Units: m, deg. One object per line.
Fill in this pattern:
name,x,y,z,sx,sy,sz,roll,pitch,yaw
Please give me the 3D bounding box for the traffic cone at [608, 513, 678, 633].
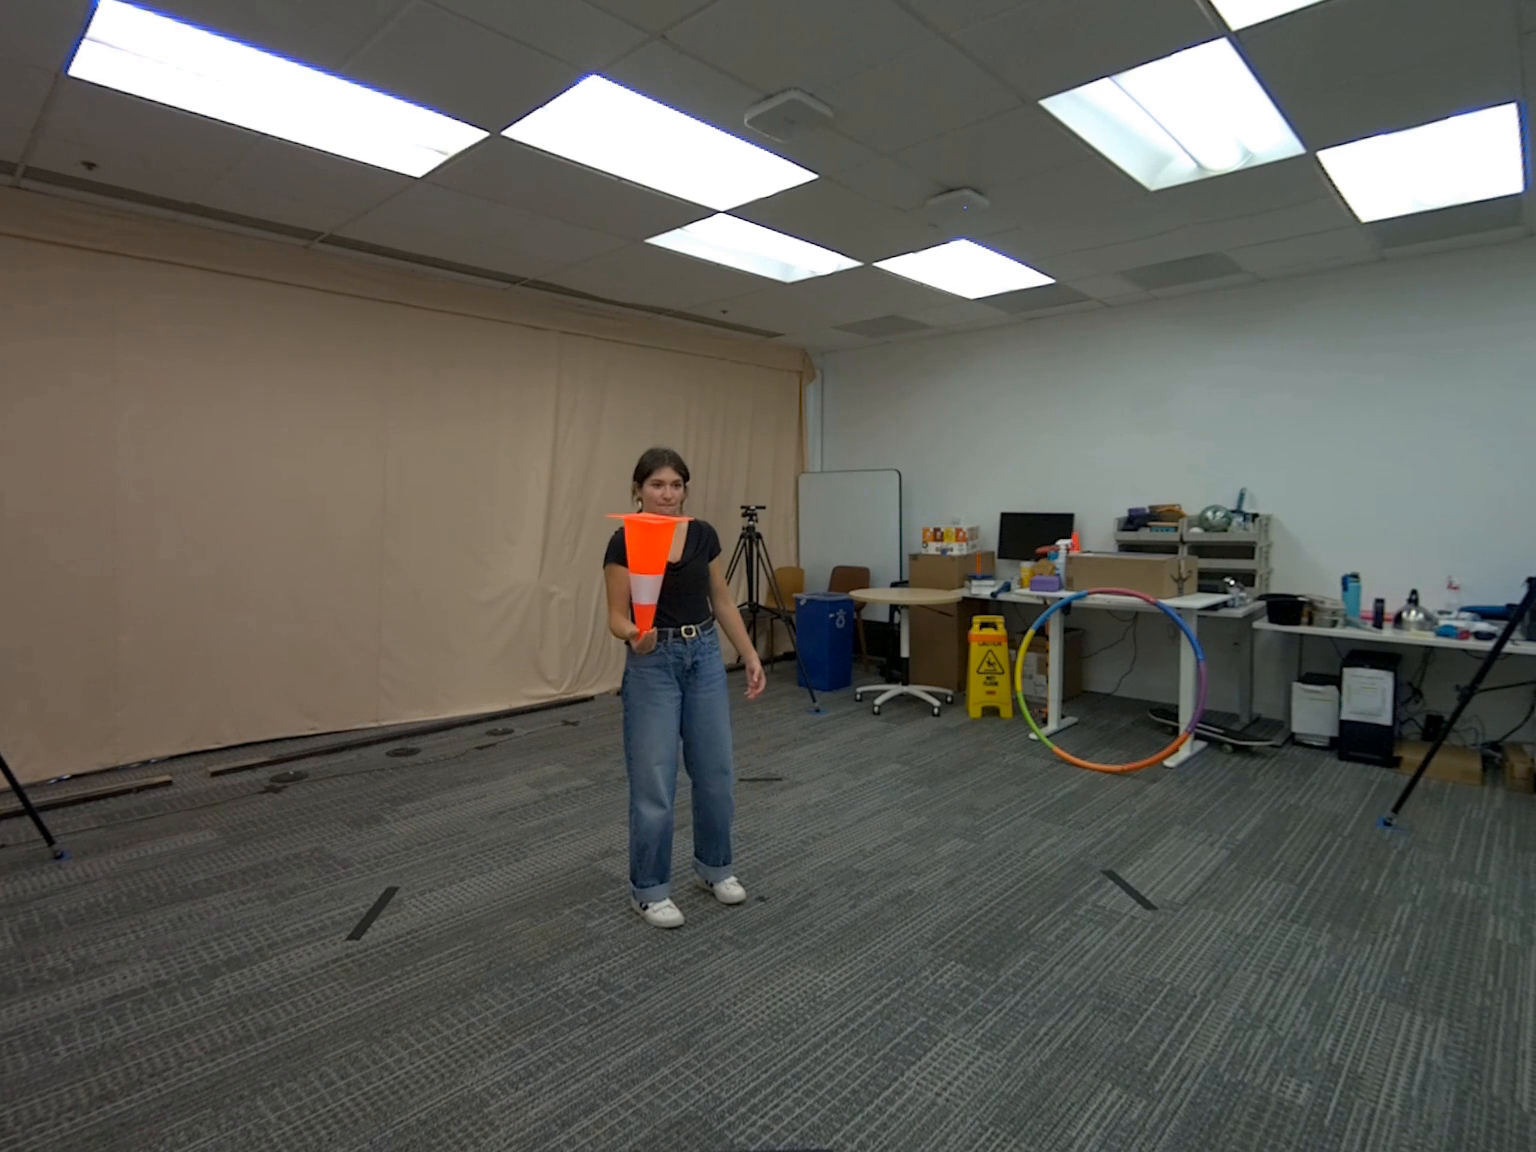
traffic cone,-0.360,0.009,2.525,0.209,0.382,0.200,8,8,27
